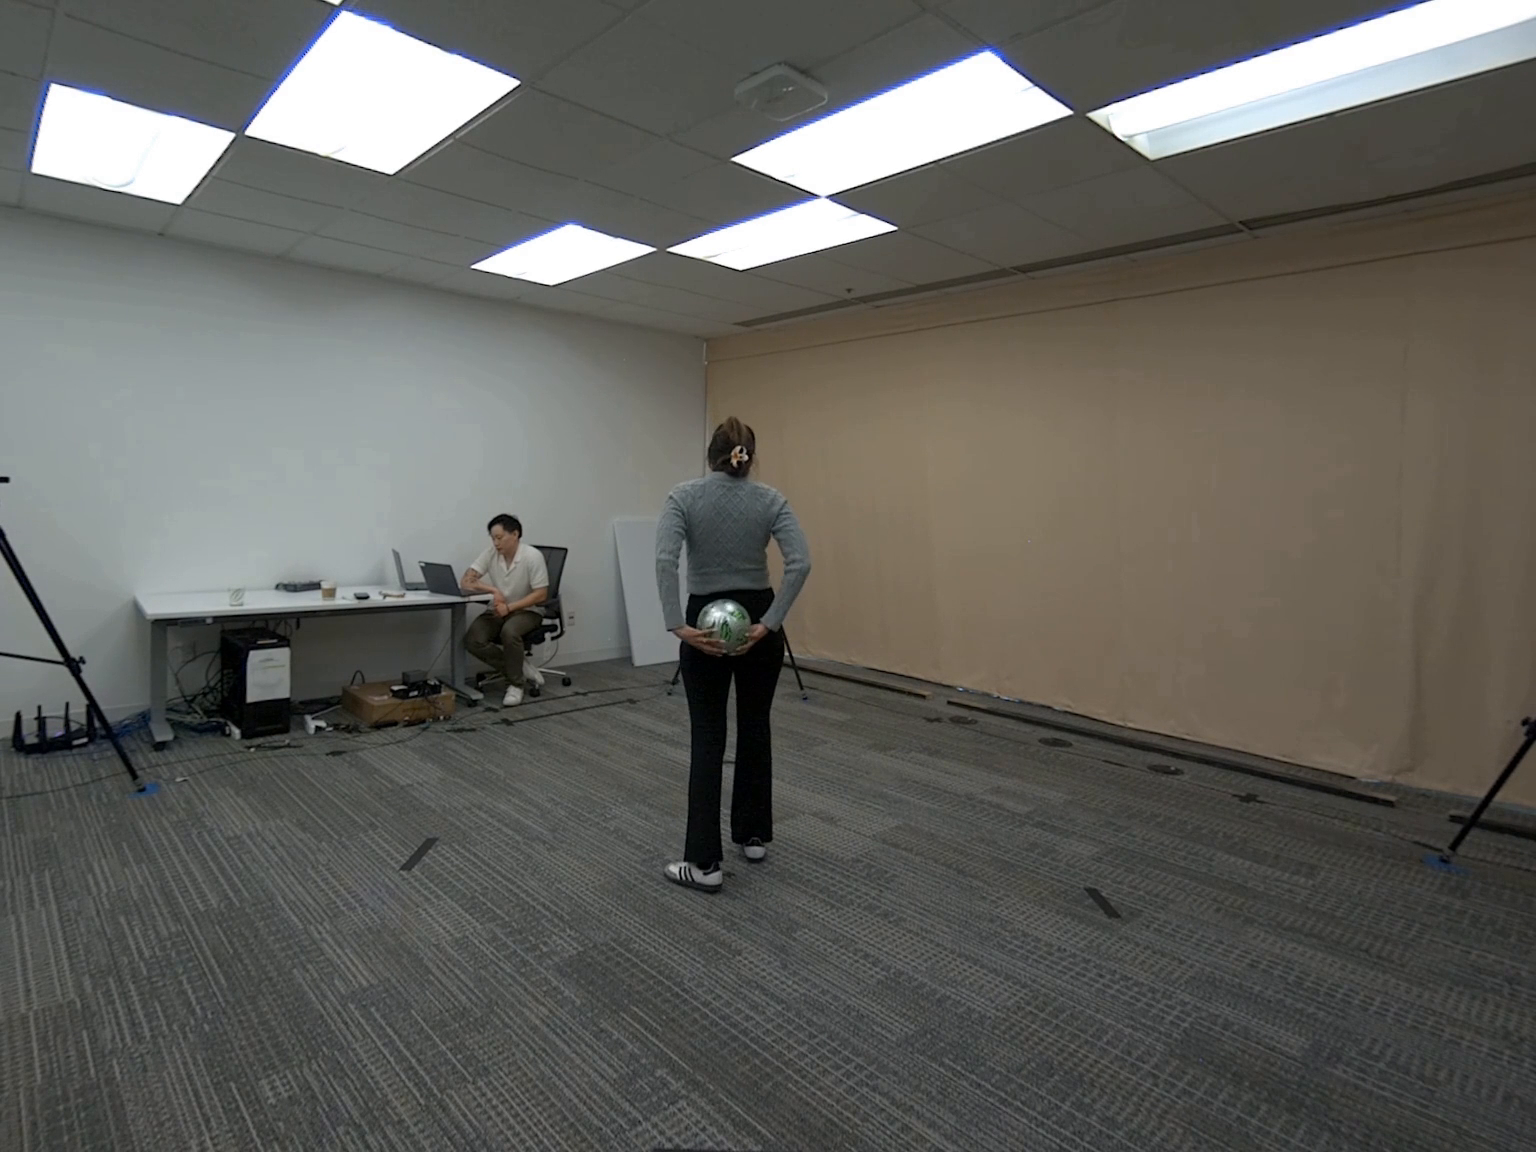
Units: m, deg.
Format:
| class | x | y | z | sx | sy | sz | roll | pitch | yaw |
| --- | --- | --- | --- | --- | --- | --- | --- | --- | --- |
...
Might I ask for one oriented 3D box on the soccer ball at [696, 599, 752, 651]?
| class | x | y | z | sx | sy | sz | roll | pitch | yaw |
| --- | --- | --- | --- | --- | --- | --- | --- | --- | --- |
| soccer ball | -0.170 | 0.169 | 2.921 | 0.187 | 0.187 | 0.188 | 1 | 4 | -1 |
